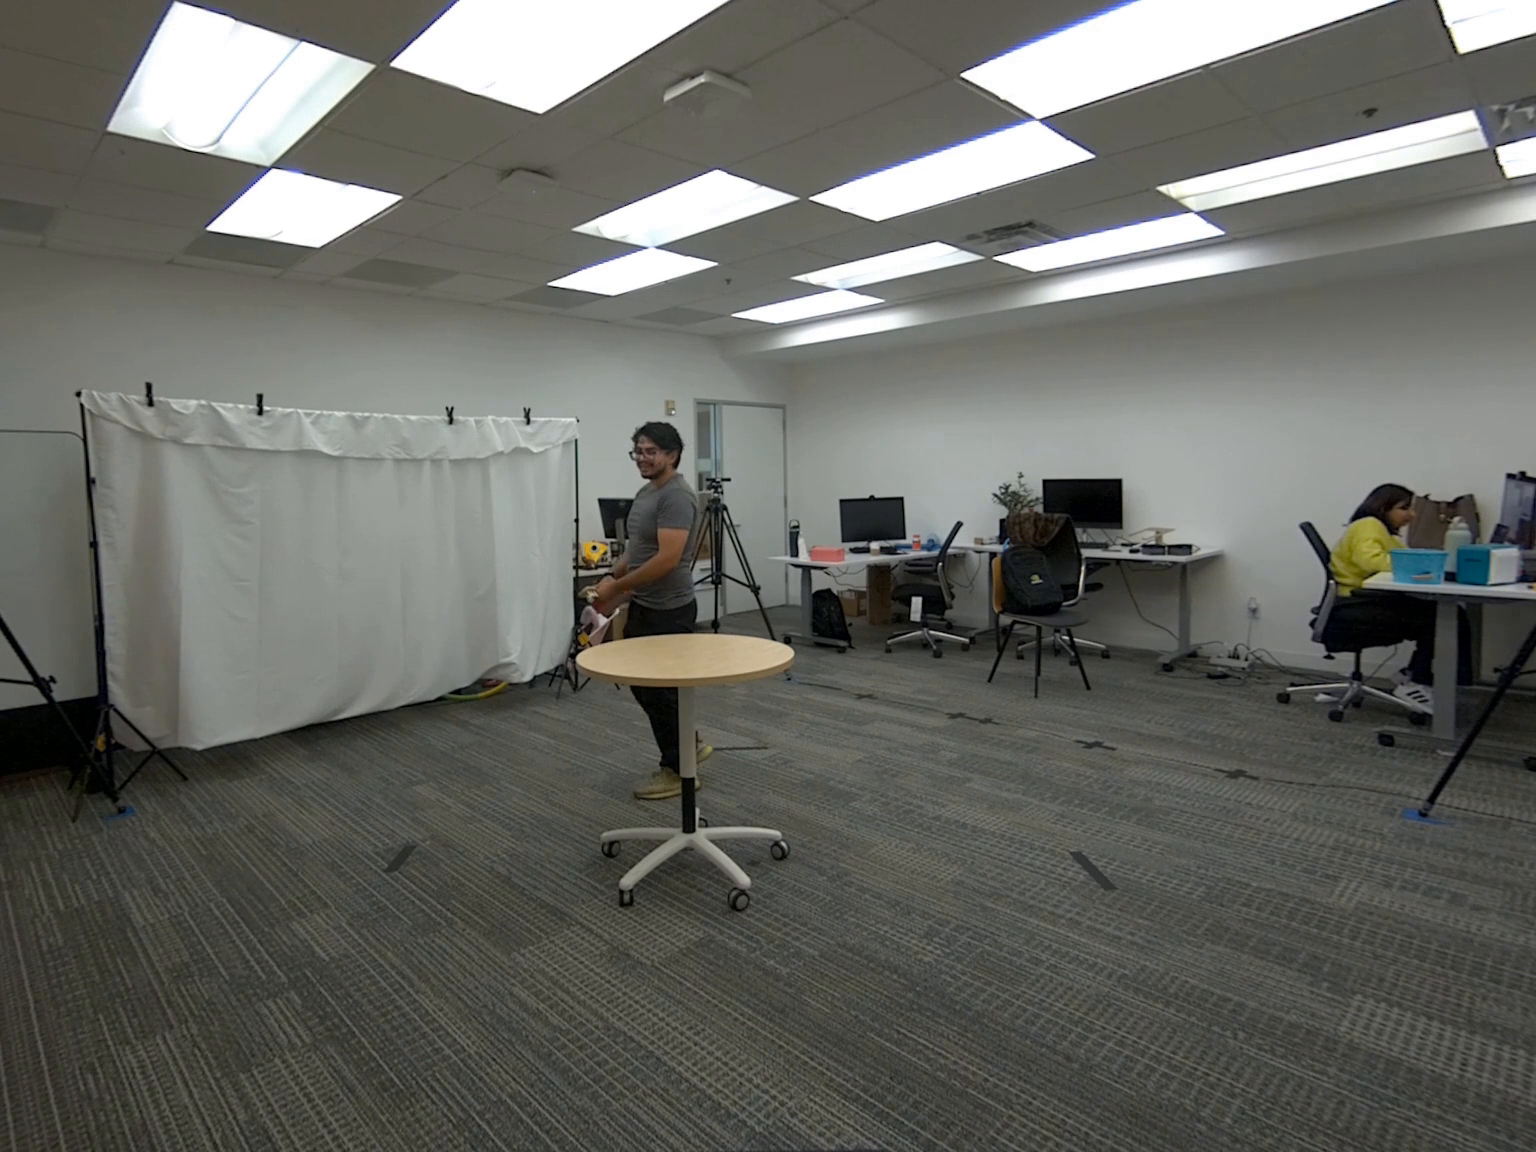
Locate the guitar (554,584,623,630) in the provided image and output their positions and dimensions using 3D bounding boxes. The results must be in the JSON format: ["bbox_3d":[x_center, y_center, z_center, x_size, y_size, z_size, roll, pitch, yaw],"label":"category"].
[{"bbox_3d":[-0.720,0.108,3.679,0.193,0.071,0.492,-41,-5,11],"label":"guitar"}]
